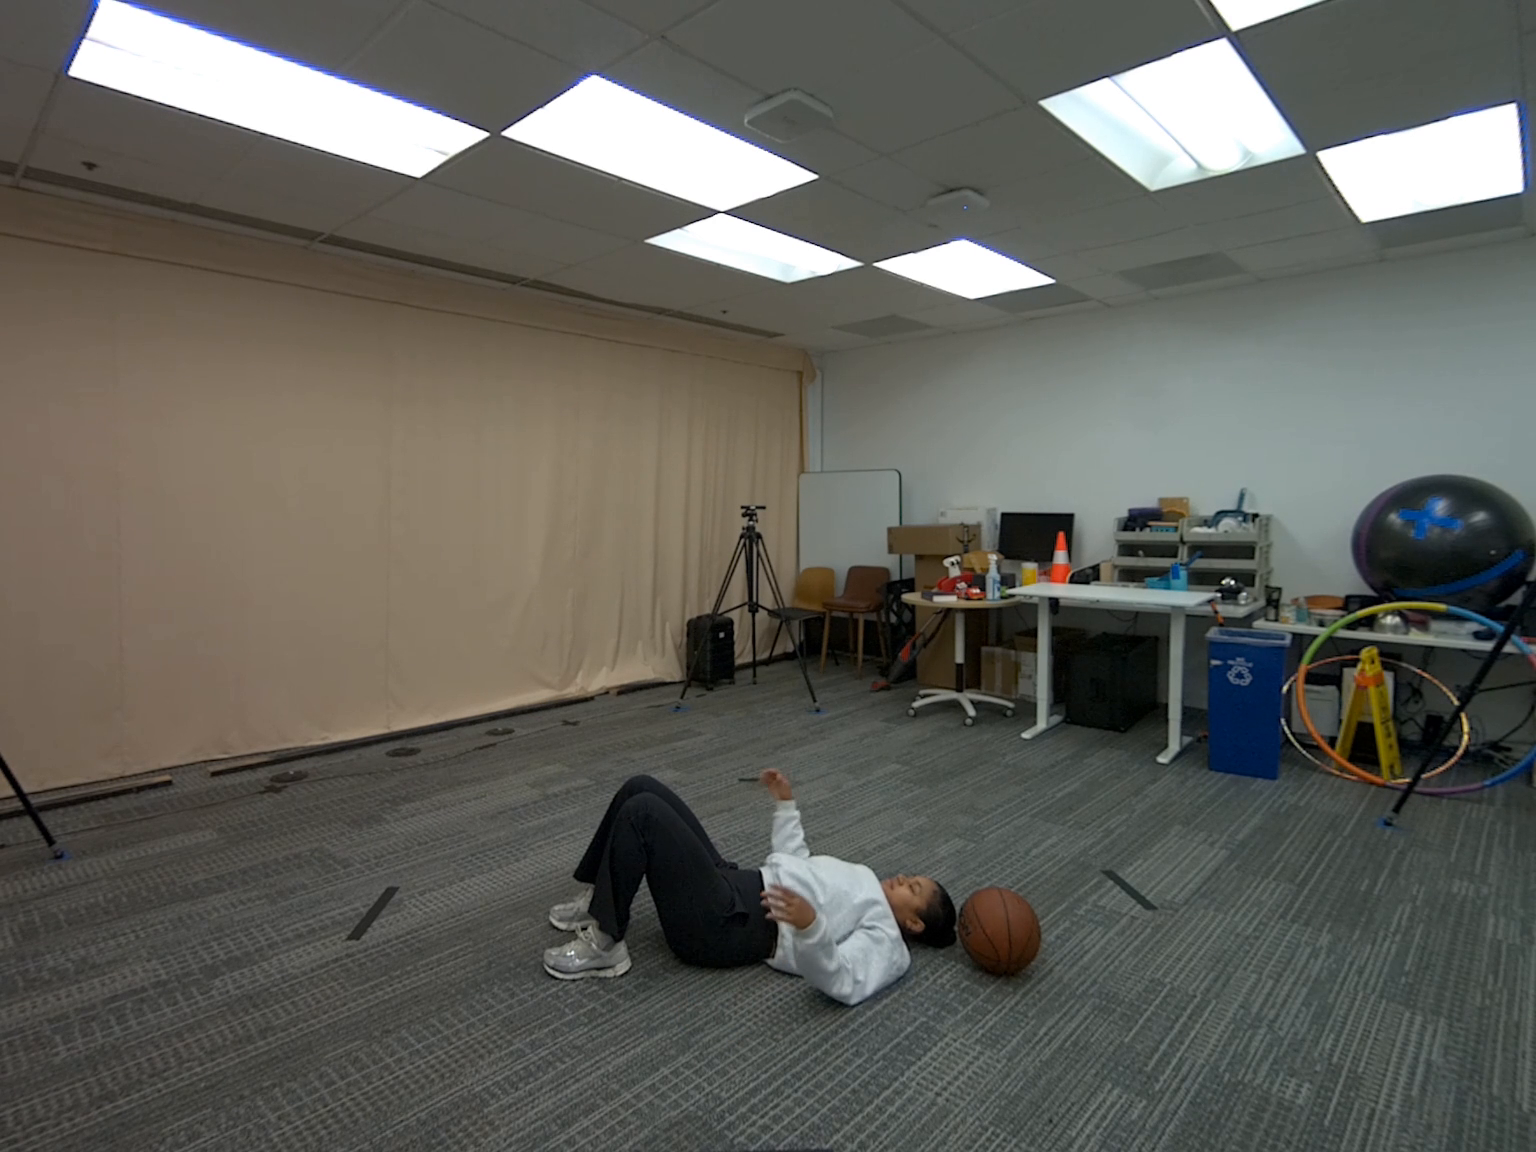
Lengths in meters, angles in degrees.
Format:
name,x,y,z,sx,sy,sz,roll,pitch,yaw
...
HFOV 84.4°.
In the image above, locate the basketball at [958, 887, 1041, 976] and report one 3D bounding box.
name,x,y,z,sx,sy,sz,roll,pitch,yaw
basketball,0.699,1.057,2.523,0.236,0.235,0.237,0,4,-2
